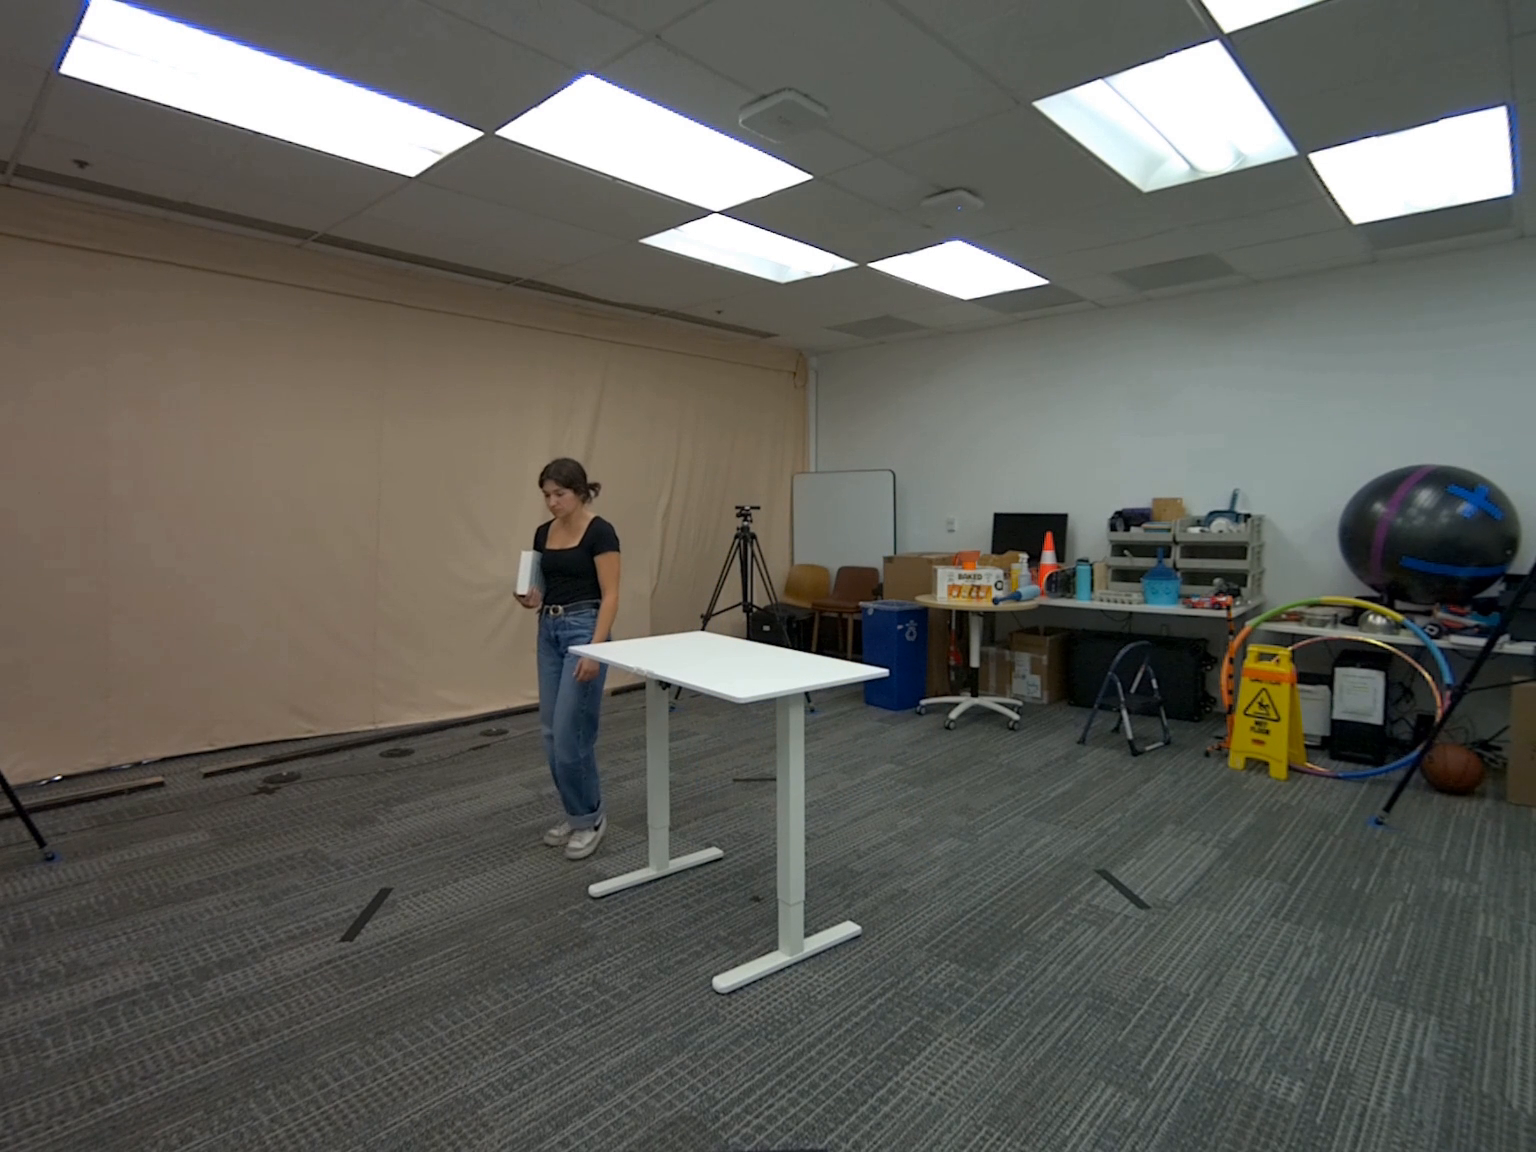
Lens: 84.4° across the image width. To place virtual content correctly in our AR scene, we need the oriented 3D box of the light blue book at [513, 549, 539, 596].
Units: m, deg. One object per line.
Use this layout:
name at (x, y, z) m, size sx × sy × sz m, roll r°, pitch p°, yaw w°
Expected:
light blue book at (-0.961, 0.012, 3.559) m, size 0.060 × 0.192 × 0.254 m, roll 2°, pitch -12°, yaw 16°
